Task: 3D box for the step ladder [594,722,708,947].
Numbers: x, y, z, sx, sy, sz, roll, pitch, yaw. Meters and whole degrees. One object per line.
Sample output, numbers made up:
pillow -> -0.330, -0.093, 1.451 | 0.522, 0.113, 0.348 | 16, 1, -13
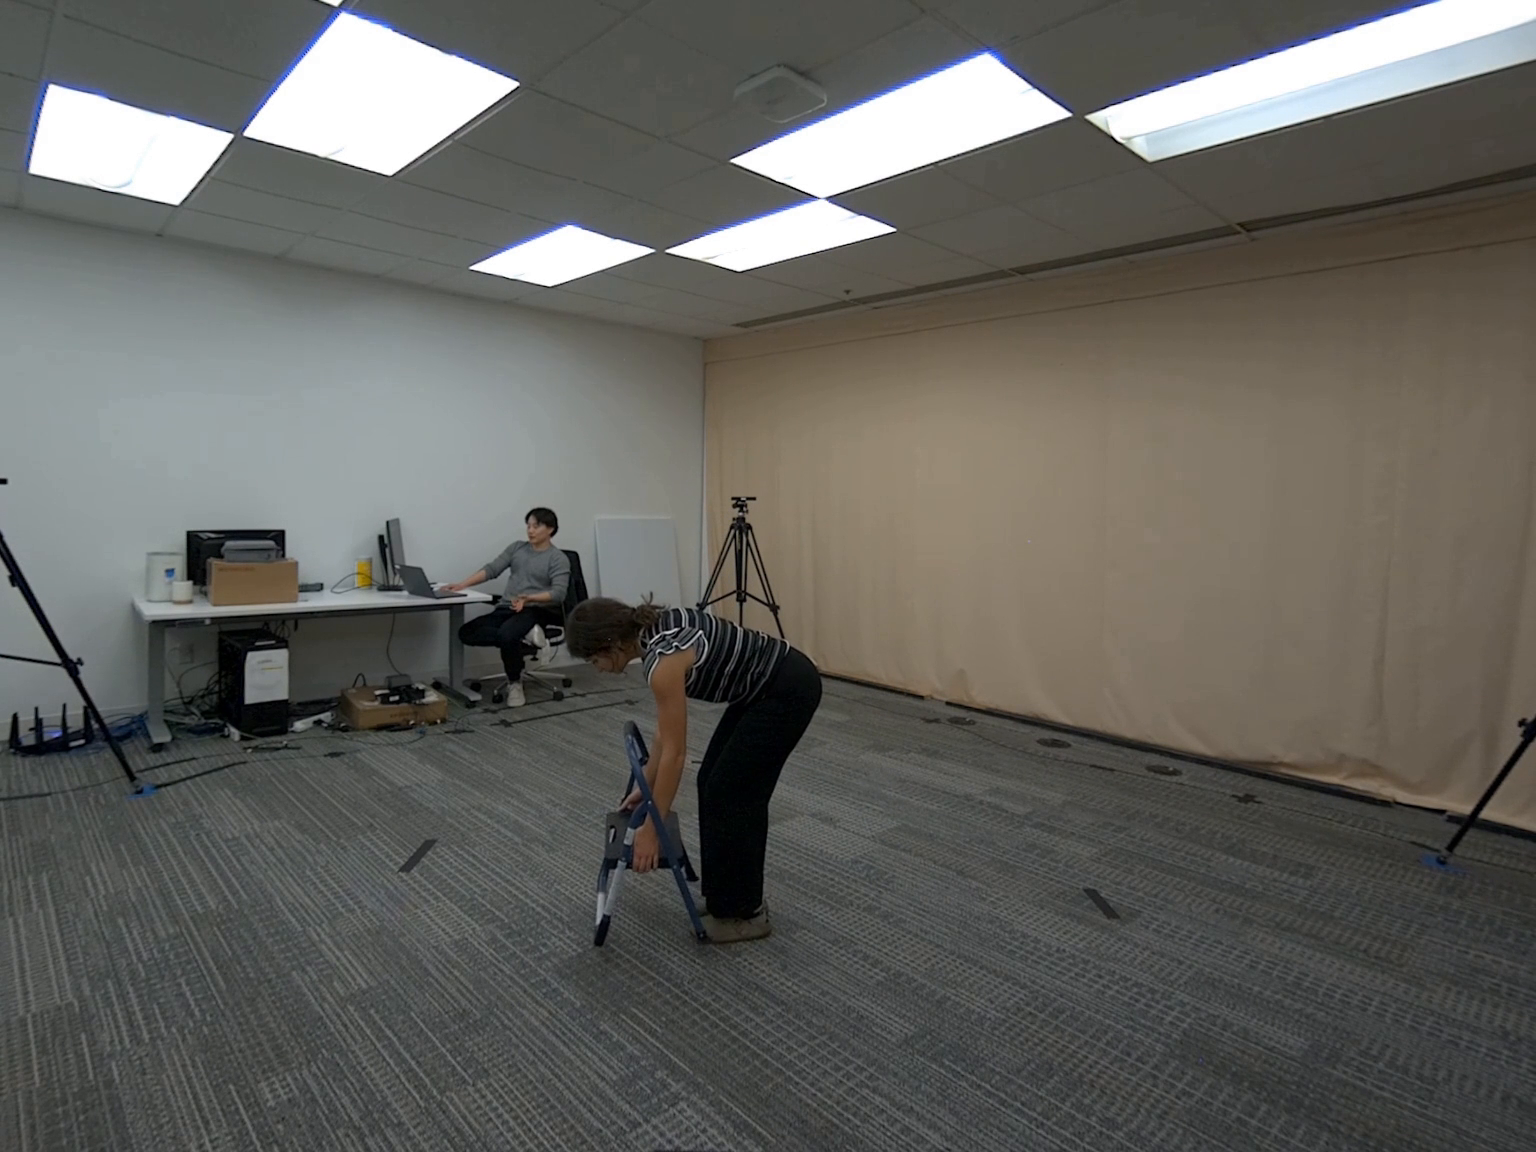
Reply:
step ladder -> -0.378, 0.787, 2.697 | 0.346, 0.604, 0.435 | 1, 5, -10
